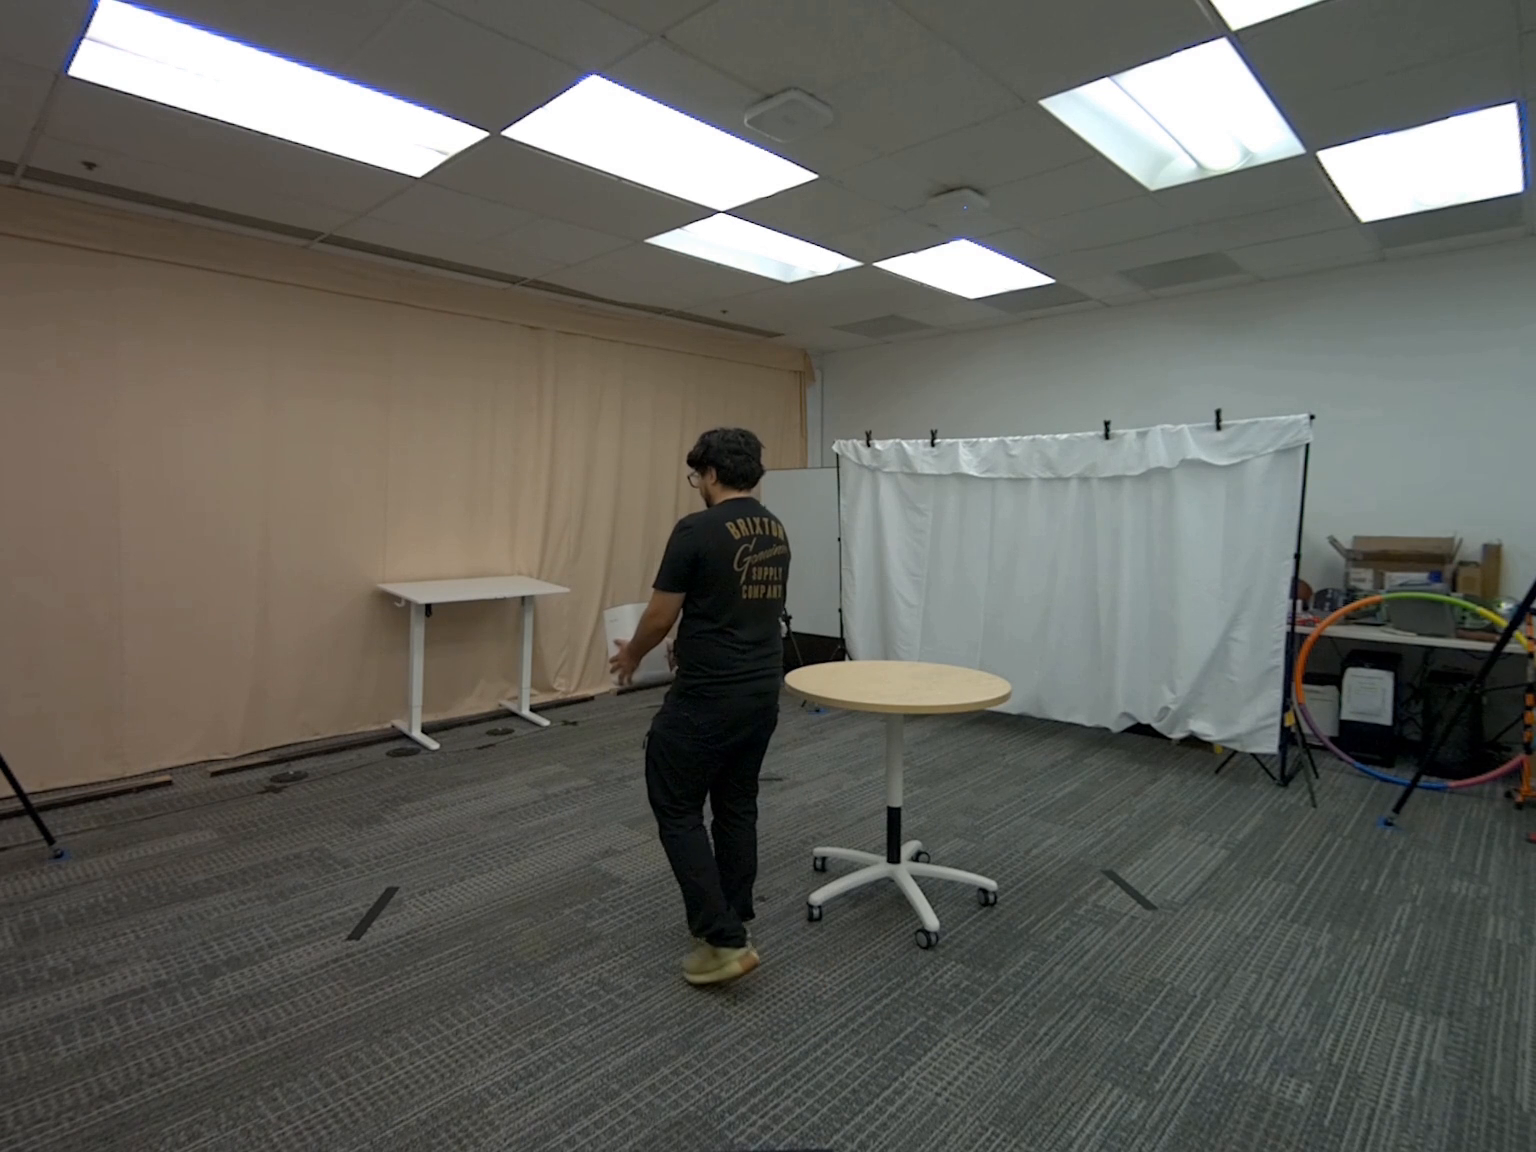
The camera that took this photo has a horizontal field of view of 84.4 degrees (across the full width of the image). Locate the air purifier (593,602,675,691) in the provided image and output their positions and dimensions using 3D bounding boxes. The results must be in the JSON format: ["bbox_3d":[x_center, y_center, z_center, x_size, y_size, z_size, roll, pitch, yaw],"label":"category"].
[{"bbox_3d":[-0.450,0.232,2.844,0.175,0.267,0.166,-15,-11,41],"label":"air purifier"}]
